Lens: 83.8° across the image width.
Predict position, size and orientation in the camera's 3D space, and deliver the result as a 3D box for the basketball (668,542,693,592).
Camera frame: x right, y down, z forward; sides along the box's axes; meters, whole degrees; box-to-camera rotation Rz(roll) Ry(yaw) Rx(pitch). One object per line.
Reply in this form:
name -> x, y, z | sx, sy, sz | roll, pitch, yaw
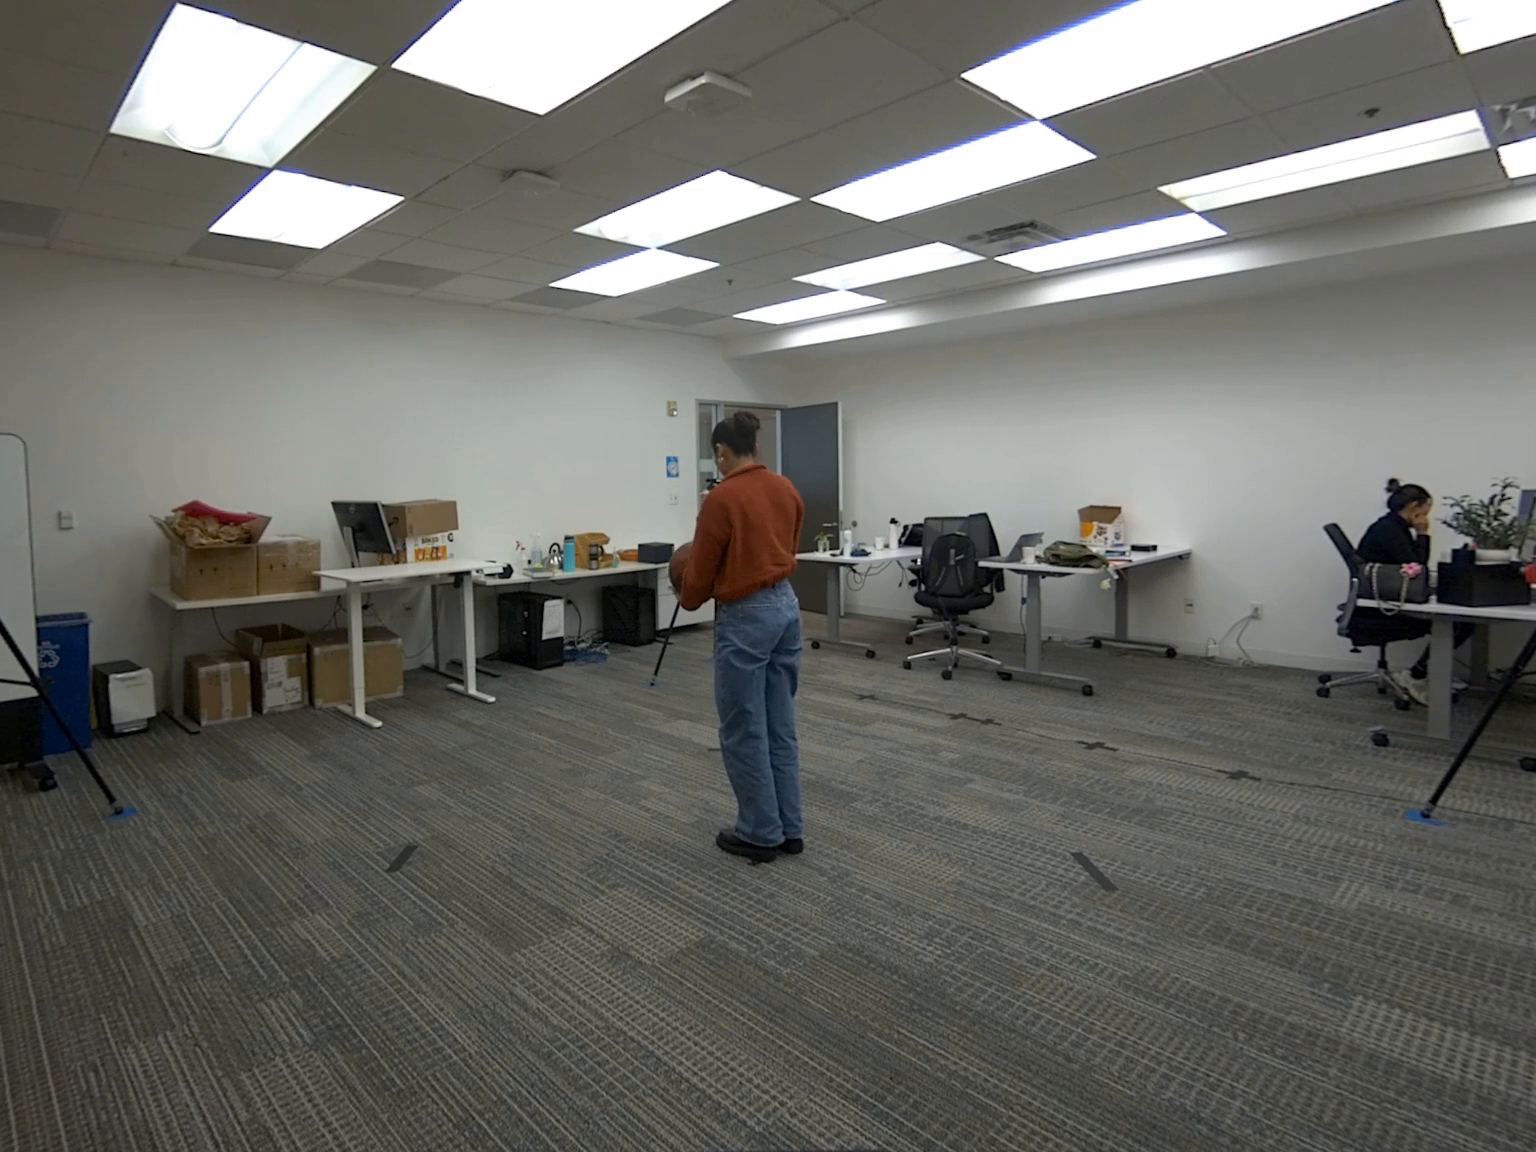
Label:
basketball -> -0.254, -0.020, 3.353 | 0.236, 0.235, 0.237 | -1, 5, -2
